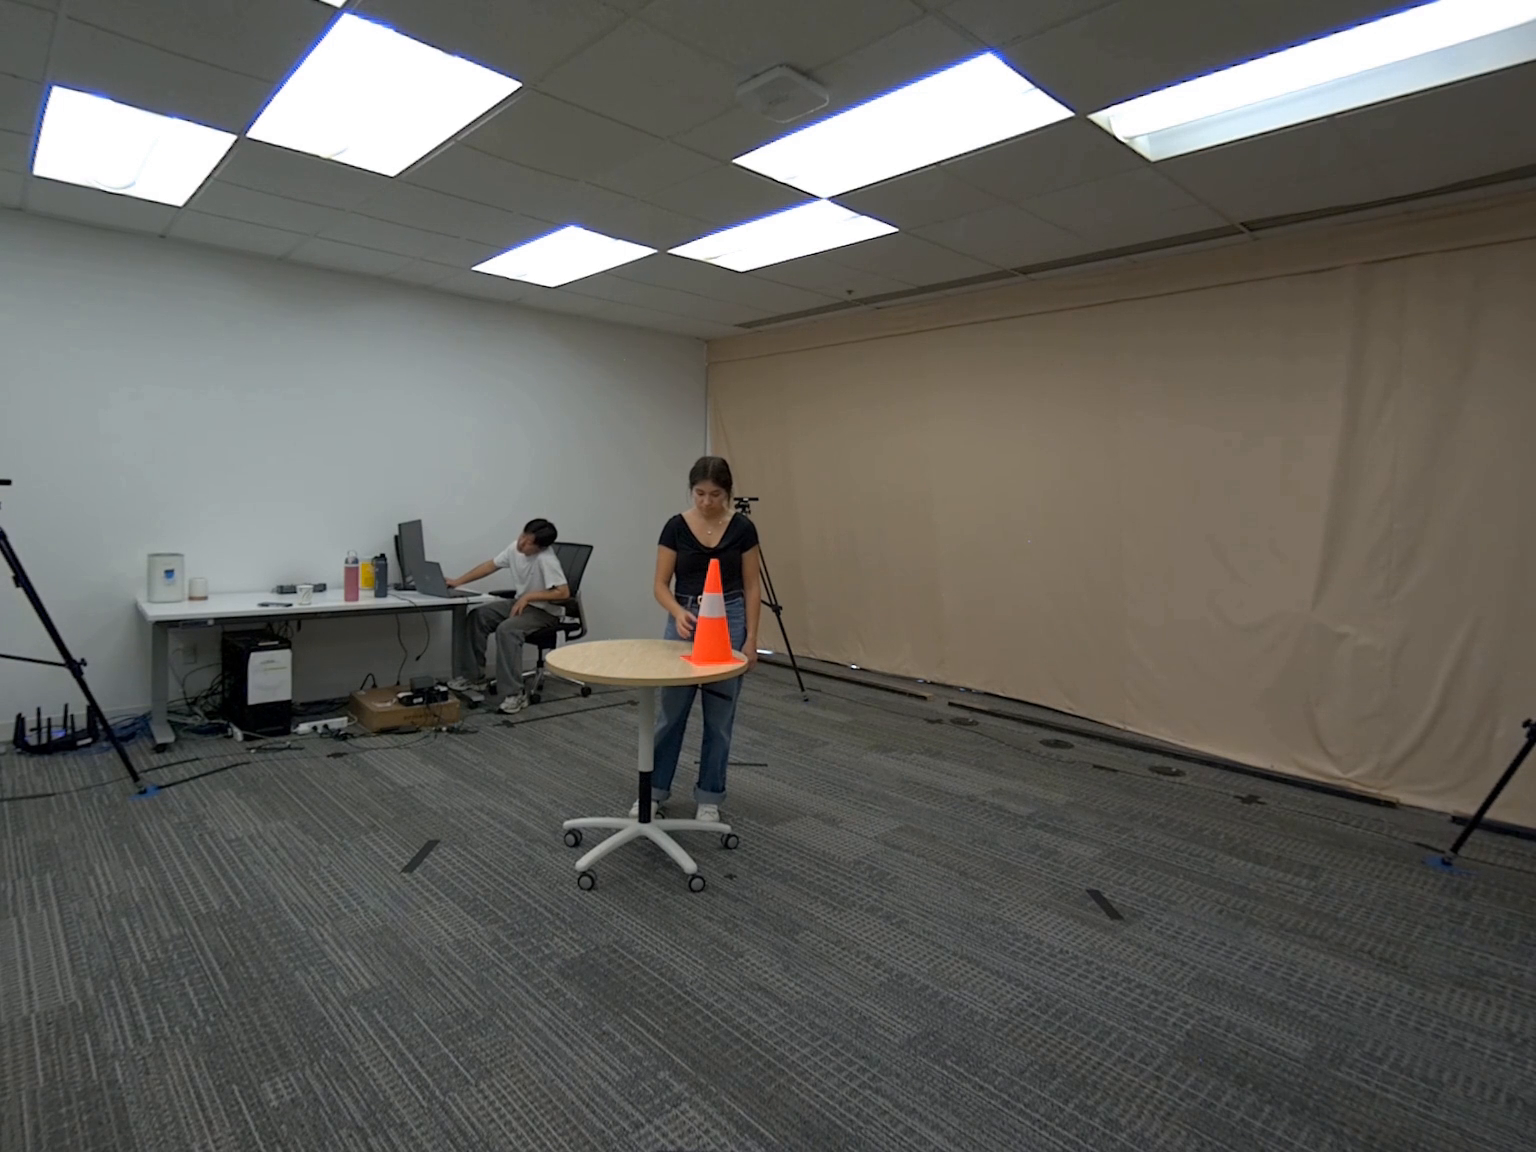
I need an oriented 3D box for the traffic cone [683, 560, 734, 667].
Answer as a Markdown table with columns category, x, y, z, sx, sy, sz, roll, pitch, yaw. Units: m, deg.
| category | x | y | z | sx | sy | sz | roll | pitch | yaw |
| --- | --- | --- | --- | --- | --- | --- | --- | --- | --- |
| traffic cone | -0.219 | 0.136 | 3.184 | 0.200 | 0.383 | 0.208 | 2 | 1 | -22 |
